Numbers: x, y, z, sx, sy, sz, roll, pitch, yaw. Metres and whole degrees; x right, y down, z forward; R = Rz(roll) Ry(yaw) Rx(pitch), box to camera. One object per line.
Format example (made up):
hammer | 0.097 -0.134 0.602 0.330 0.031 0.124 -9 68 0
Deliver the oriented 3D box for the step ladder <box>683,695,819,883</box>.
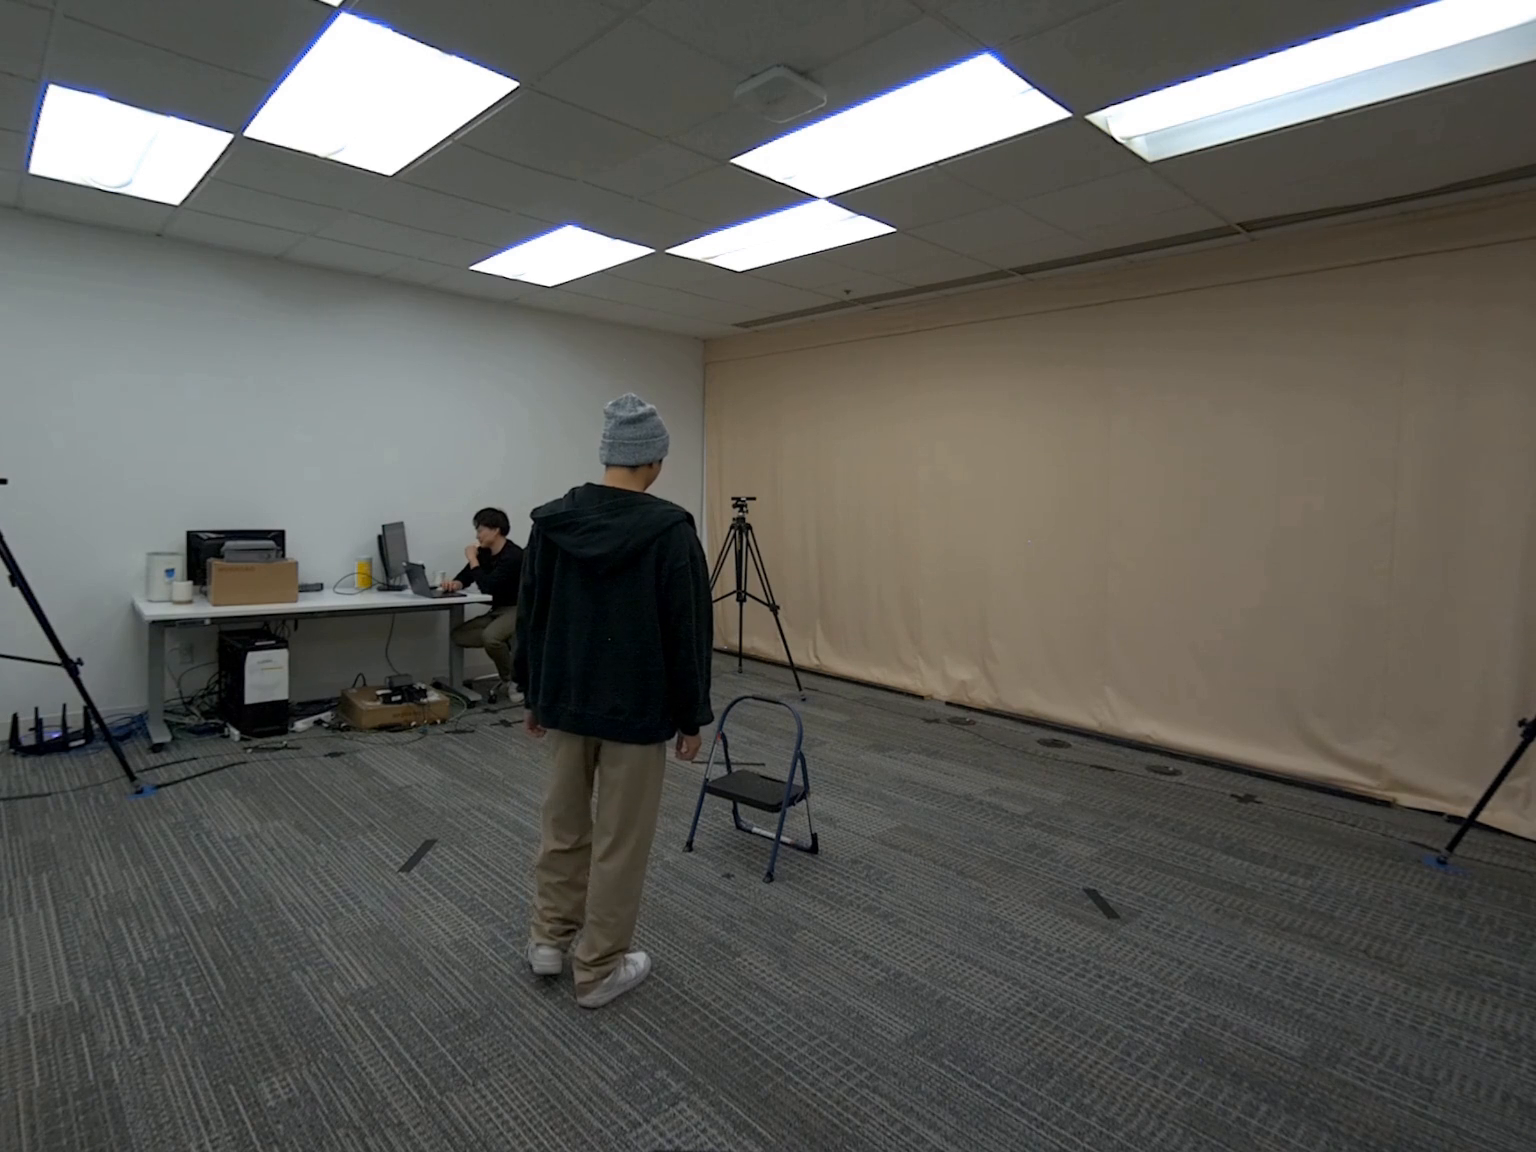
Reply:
step ladder | -0.061 0.787 3.302 0.441 0.604 0.341 5 5 37
